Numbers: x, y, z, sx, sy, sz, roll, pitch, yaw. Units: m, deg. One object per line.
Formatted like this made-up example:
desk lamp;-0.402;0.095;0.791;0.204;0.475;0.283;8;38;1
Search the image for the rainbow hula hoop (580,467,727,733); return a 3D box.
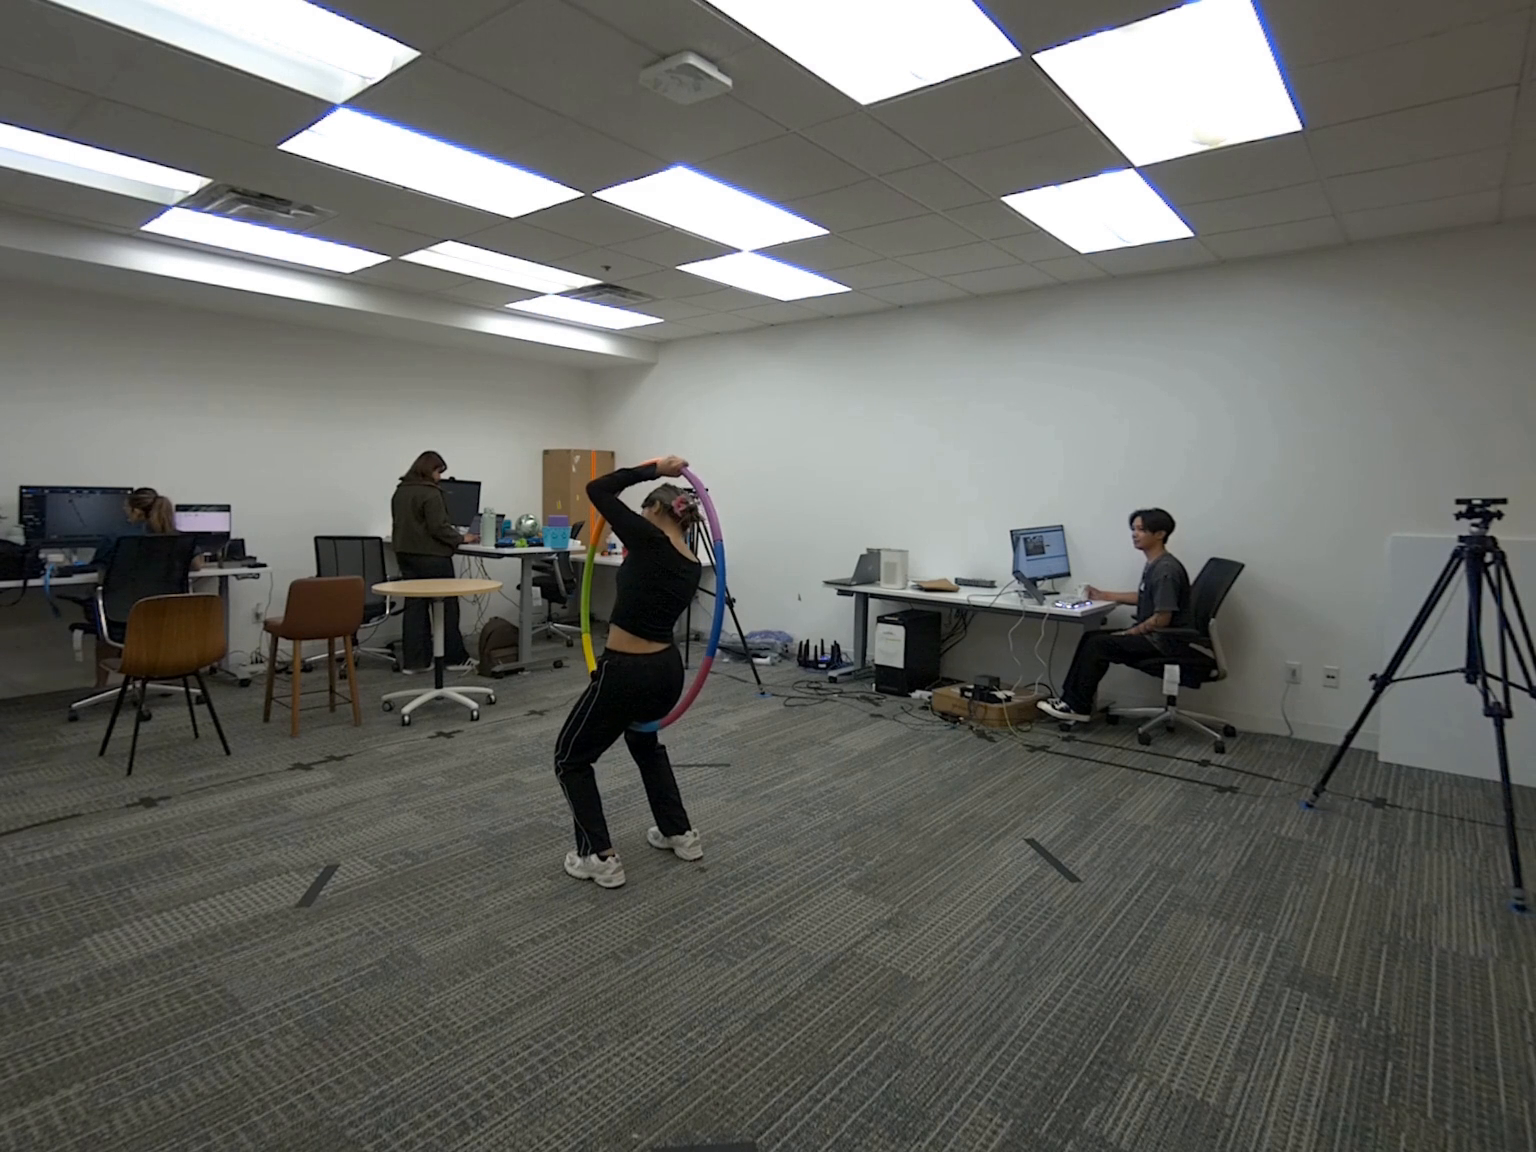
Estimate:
rainbow hula hoop;-0.467;0.057;3.140;0.034;0.979;1.012;7;-1;-39
